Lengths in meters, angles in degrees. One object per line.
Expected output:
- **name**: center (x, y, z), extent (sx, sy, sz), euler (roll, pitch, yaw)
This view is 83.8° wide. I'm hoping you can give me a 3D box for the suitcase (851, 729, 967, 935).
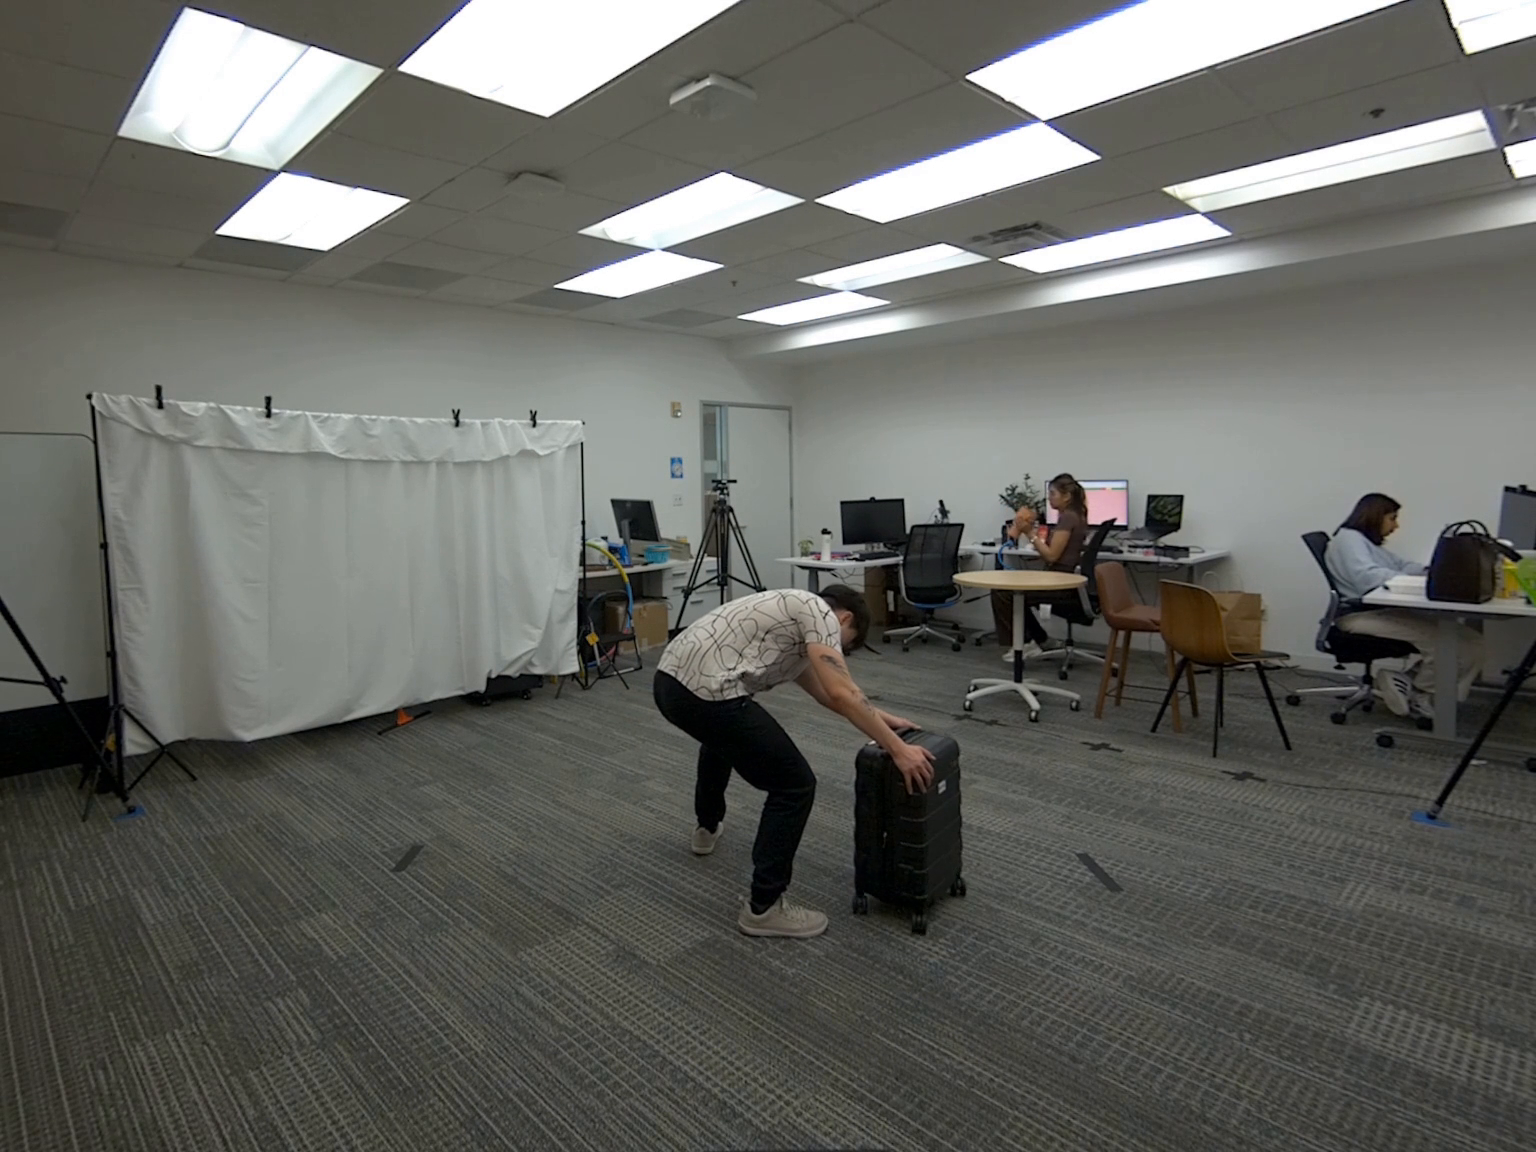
- **suitcase**: center (0.468, 0.801, 2.806), extent (0.255, 0.548, 0.366), euler (2, 3, 35)
